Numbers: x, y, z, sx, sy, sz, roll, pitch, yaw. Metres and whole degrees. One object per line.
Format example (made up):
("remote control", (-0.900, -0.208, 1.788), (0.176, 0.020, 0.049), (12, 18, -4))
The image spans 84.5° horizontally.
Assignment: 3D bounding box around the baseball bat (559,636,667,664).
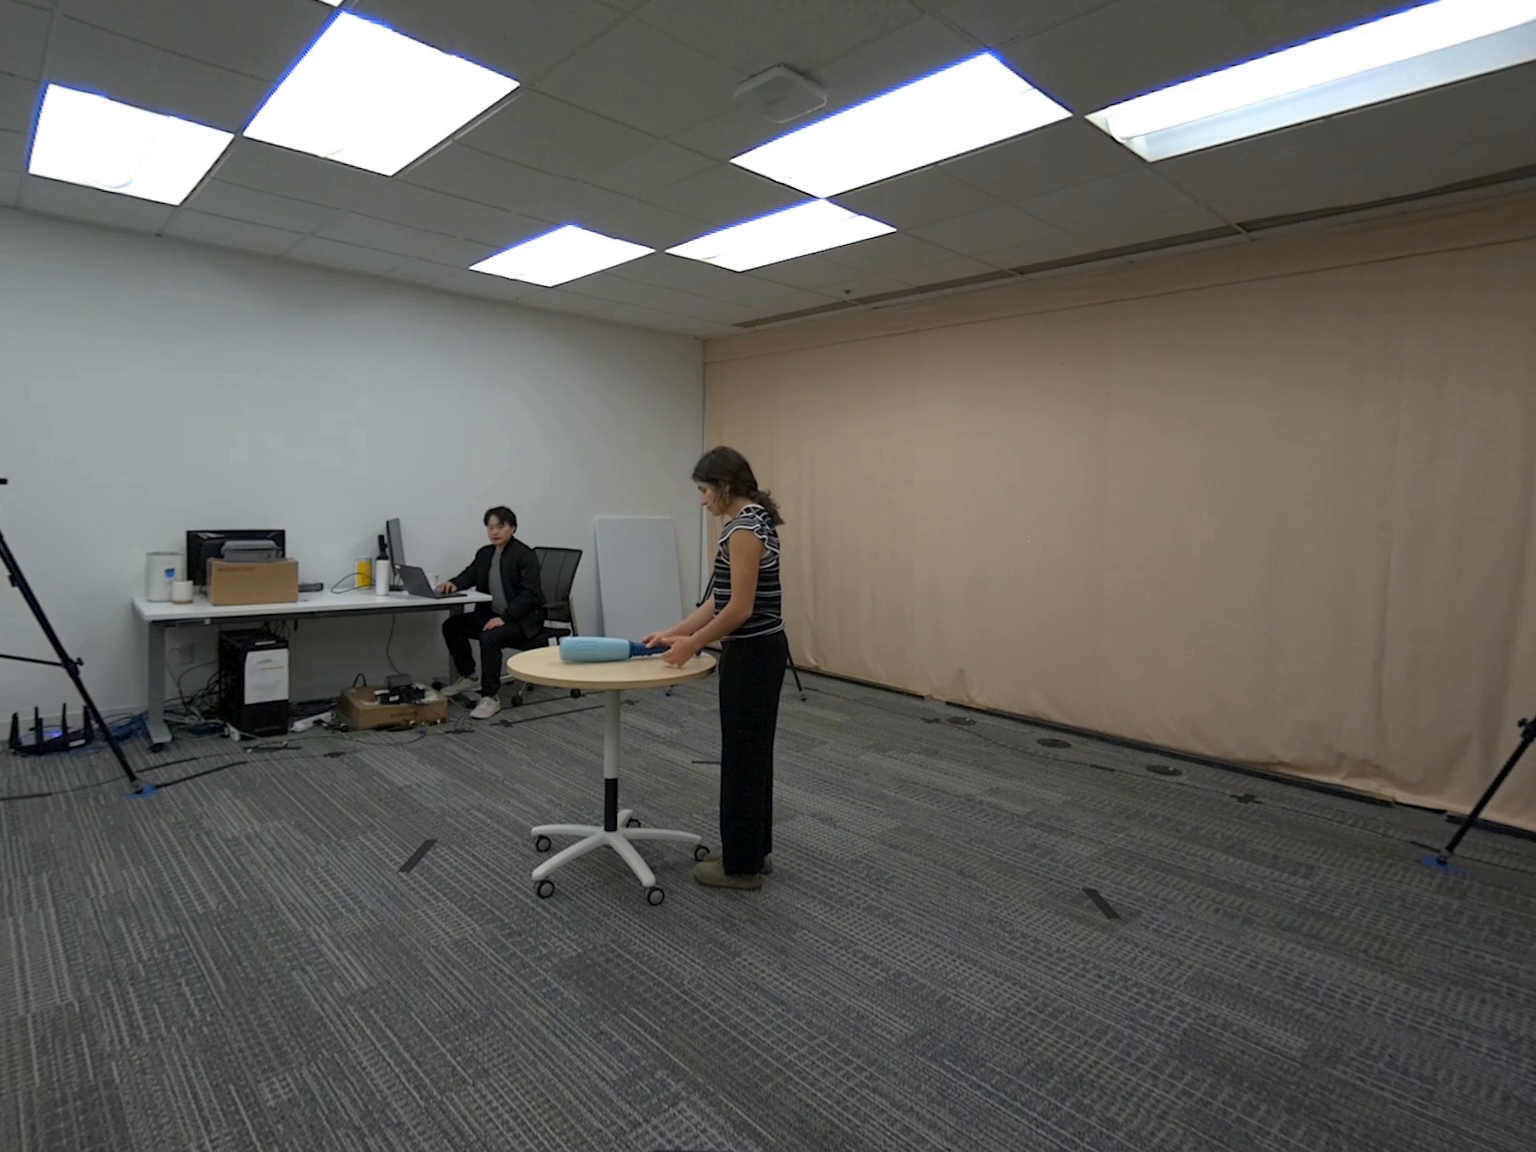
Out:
("baseball bat", (-0.502, 0.275, 3.128), (0.534, 0.089, 0.091), (2, 4, -21))
